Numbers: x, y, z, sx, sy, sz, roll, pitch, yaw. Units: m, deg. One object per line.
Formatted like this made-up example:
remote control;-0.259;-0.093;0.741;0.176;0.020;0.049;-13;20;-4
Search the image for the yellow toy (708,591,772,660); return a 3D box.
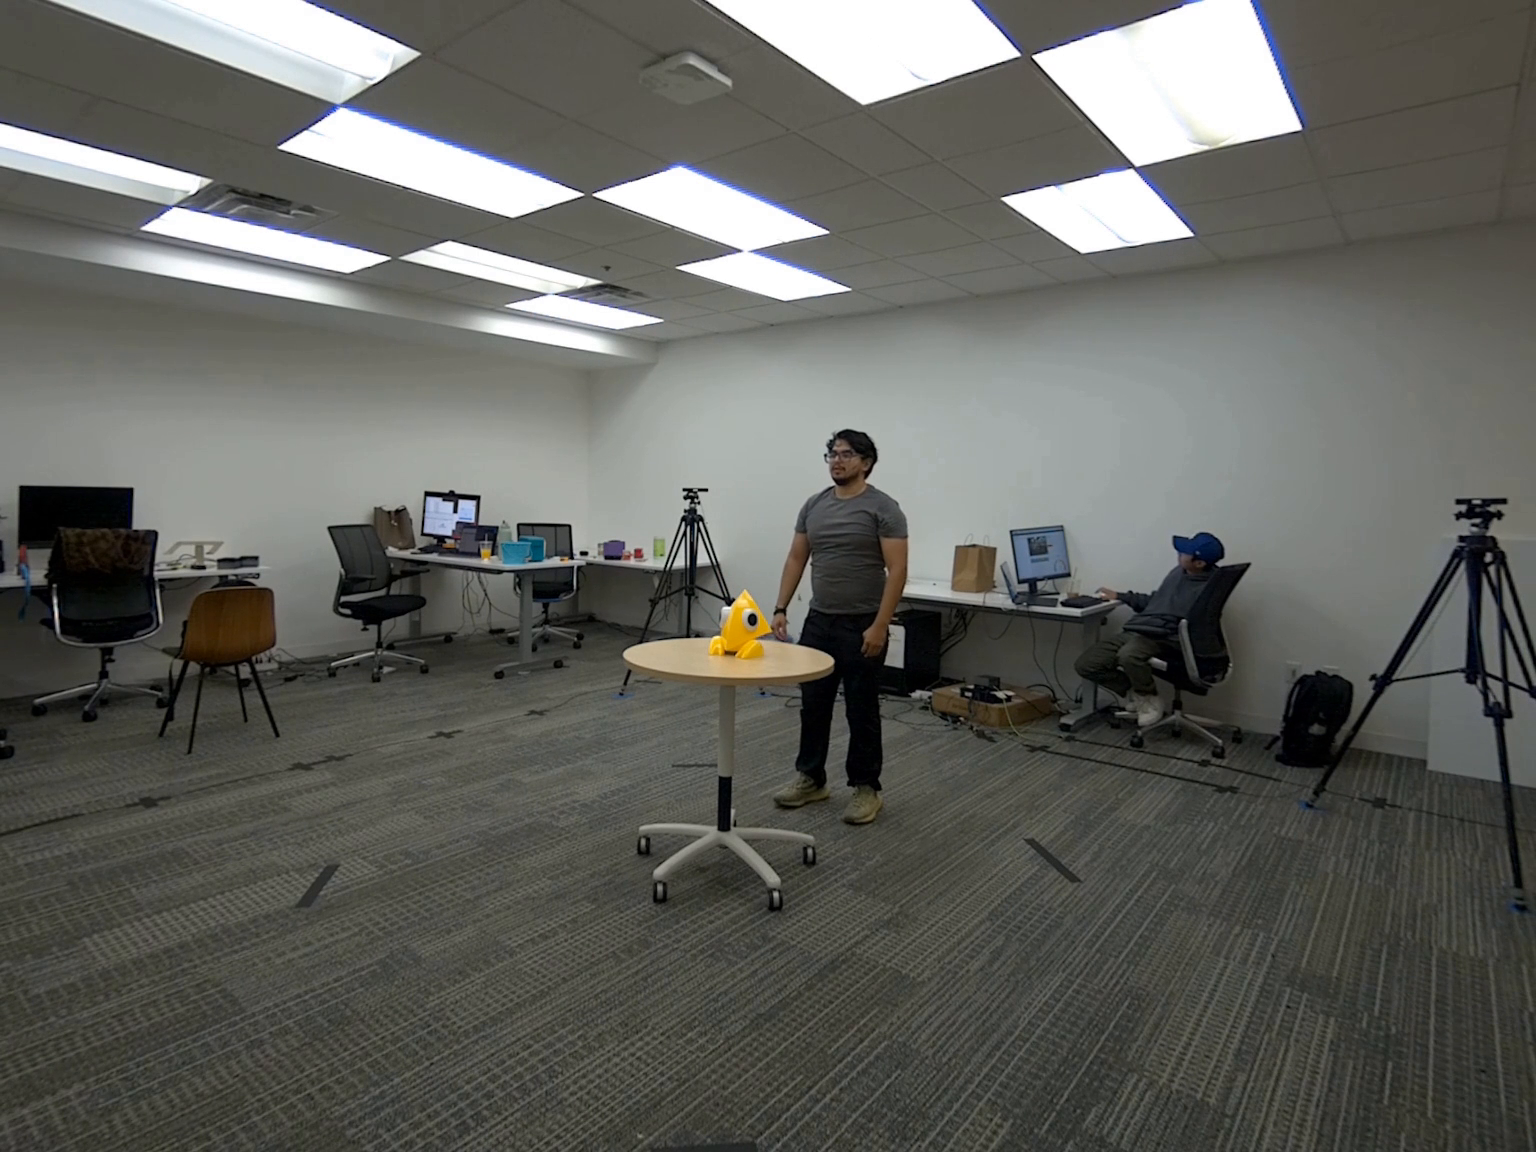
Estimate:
yellow toy;-0.122;0.169;3.150;0.210;0.230;0.189;3;4;23
